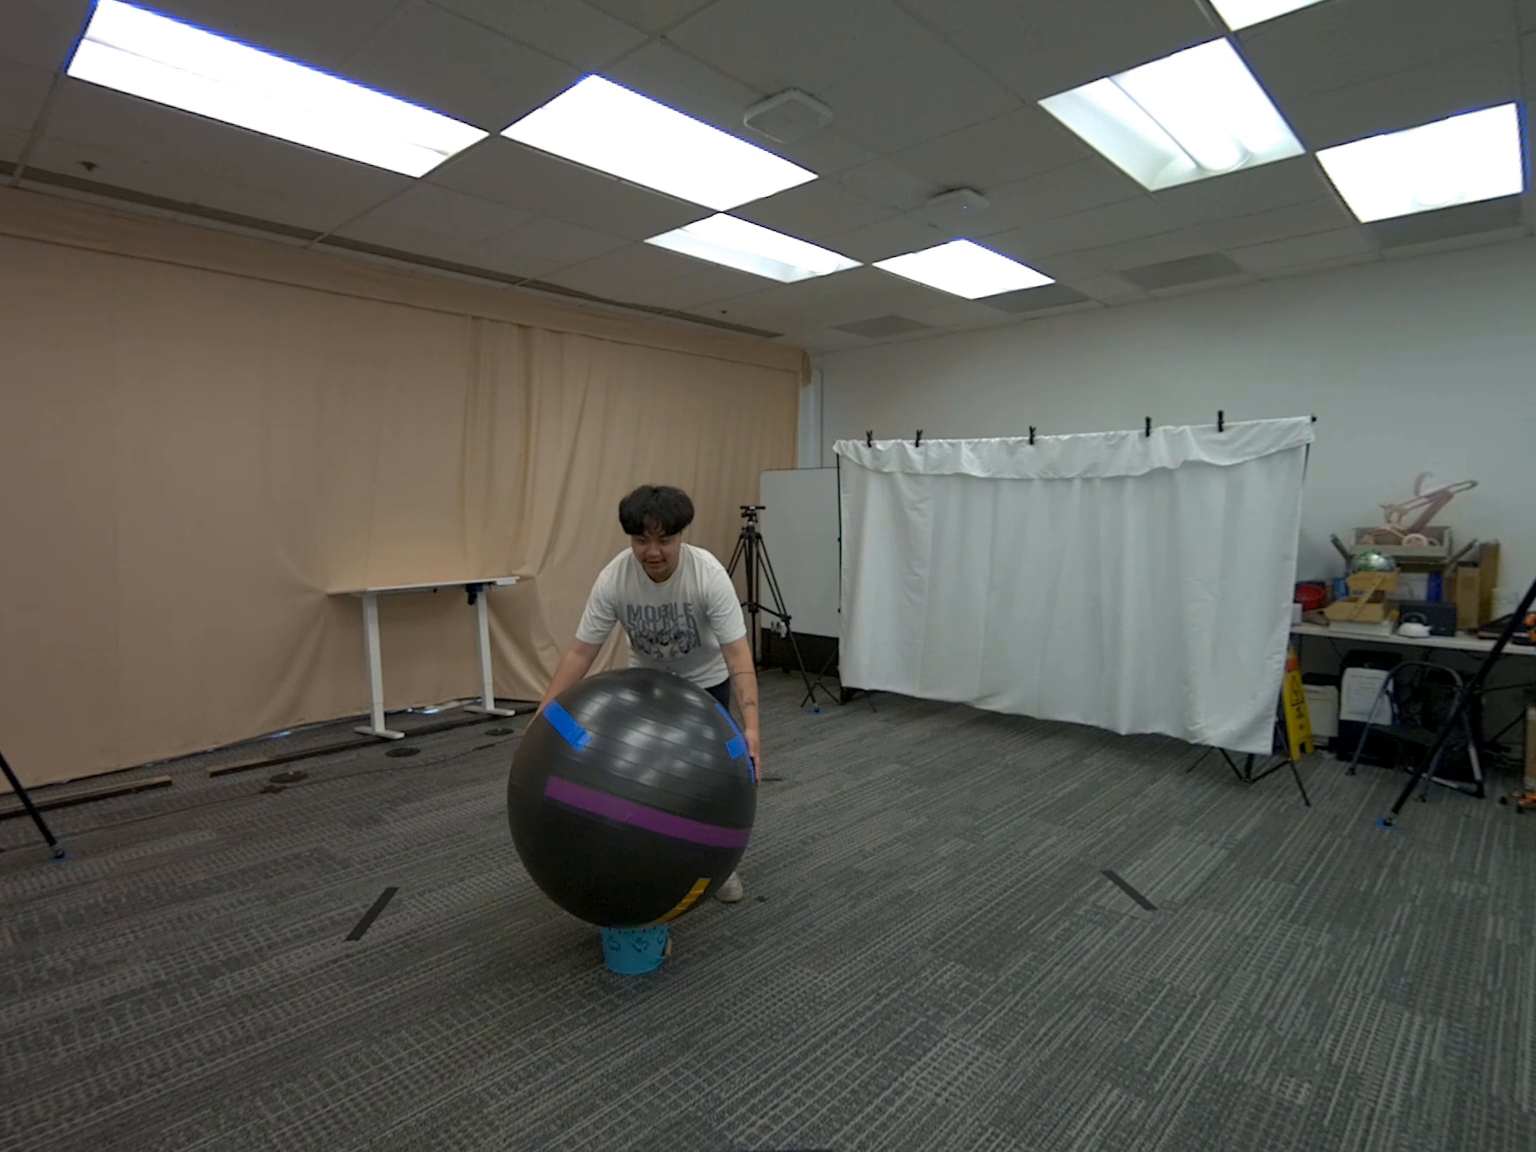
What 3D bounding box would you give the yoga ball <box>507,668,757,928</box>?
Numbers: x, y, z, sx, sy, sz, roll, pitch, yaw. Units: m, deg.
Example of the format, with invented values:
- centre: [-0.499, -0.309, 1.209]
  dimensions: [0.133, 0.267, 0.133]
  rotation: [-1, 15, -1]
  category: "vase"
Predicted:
- centre: [-0.421, 0.665, 2.584]
  dimensions: [0.757, 0.756, 0.760]
  rotation: [0, 4, -2]
  category: "yoga ball"
